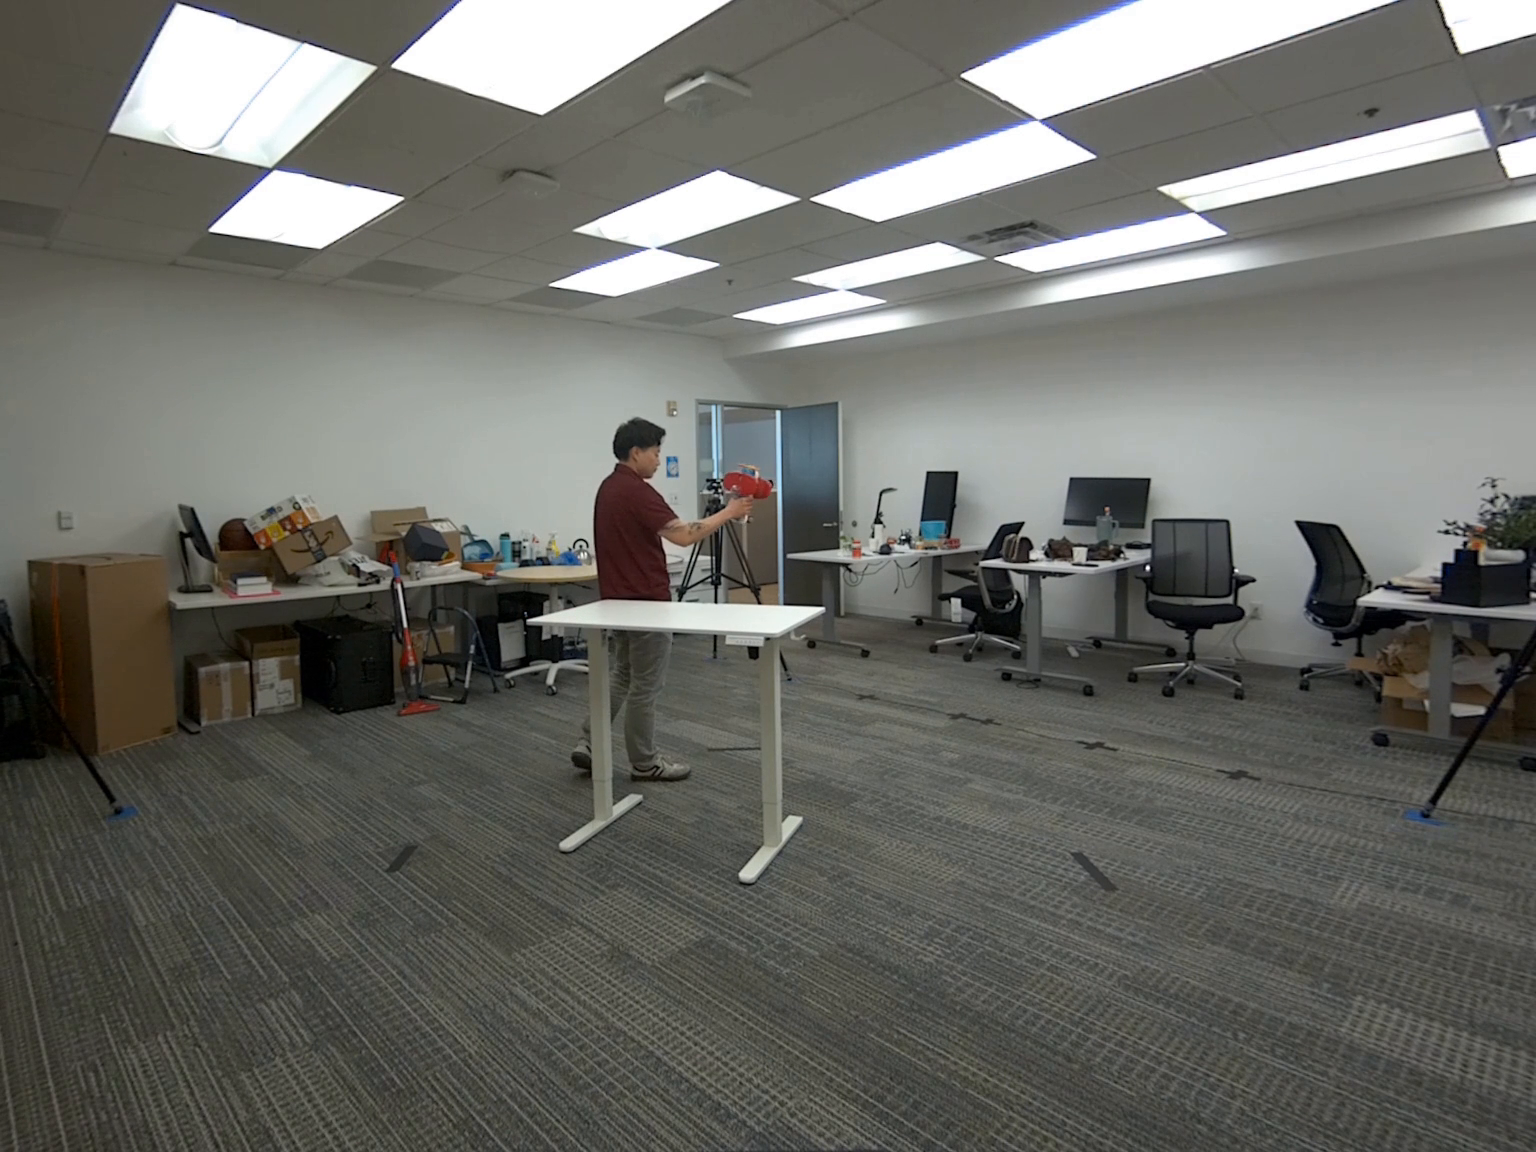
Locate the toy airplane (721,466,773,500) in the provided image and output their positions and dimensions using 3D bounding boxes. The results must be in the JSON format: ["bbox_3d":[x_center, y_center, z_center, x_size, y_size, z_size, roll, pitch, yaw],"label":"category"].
[{"bbox_3d":[-0.093,-0.362,3.857,0.255,0.264,0.151,-19,-38,41],"label":"toy airplane"}]
